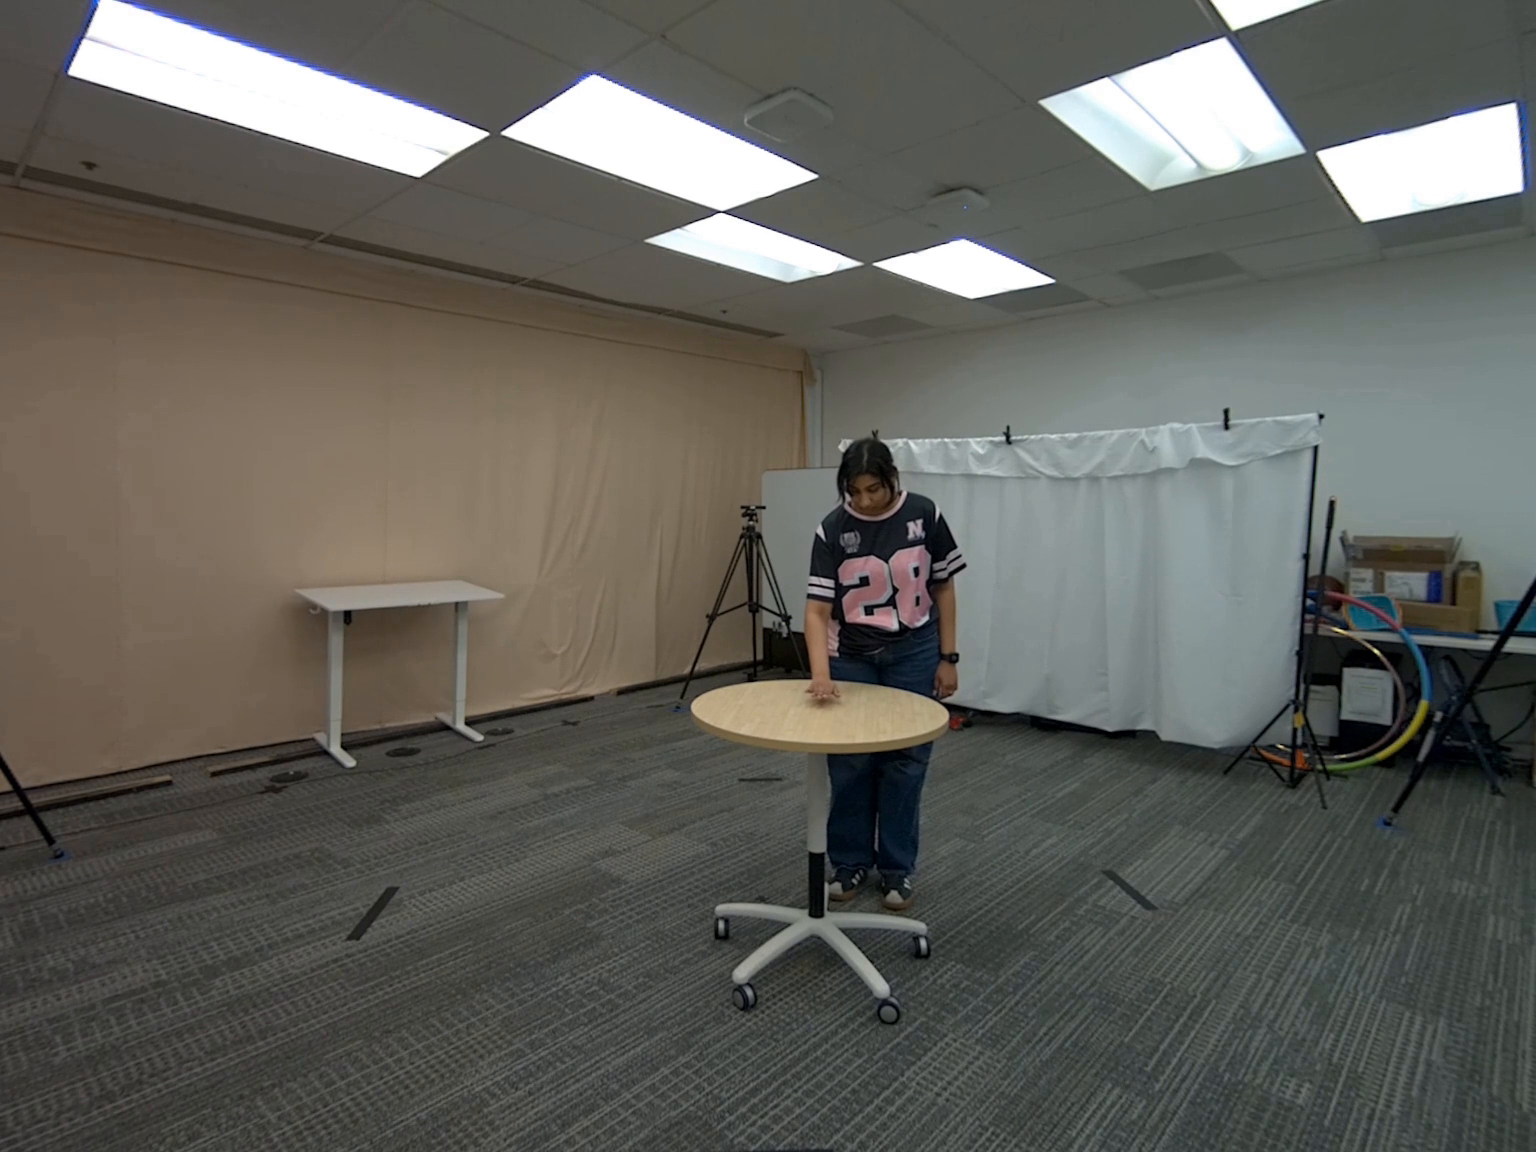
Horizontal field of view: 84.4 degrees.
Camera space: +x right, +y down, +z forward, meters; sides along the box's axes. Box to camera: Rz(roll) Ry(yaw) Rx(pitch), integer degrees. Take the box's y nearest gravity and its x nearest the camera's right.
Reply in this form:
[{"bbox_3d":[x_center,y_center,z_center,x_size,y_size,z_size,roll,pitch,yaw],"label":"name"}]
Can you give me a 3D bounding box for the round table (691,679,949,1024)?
[{"bbox_3d":[0.163,0.788,2.554,0.784,0.785,0.788,0,4,-2],"label":"round table"}]
